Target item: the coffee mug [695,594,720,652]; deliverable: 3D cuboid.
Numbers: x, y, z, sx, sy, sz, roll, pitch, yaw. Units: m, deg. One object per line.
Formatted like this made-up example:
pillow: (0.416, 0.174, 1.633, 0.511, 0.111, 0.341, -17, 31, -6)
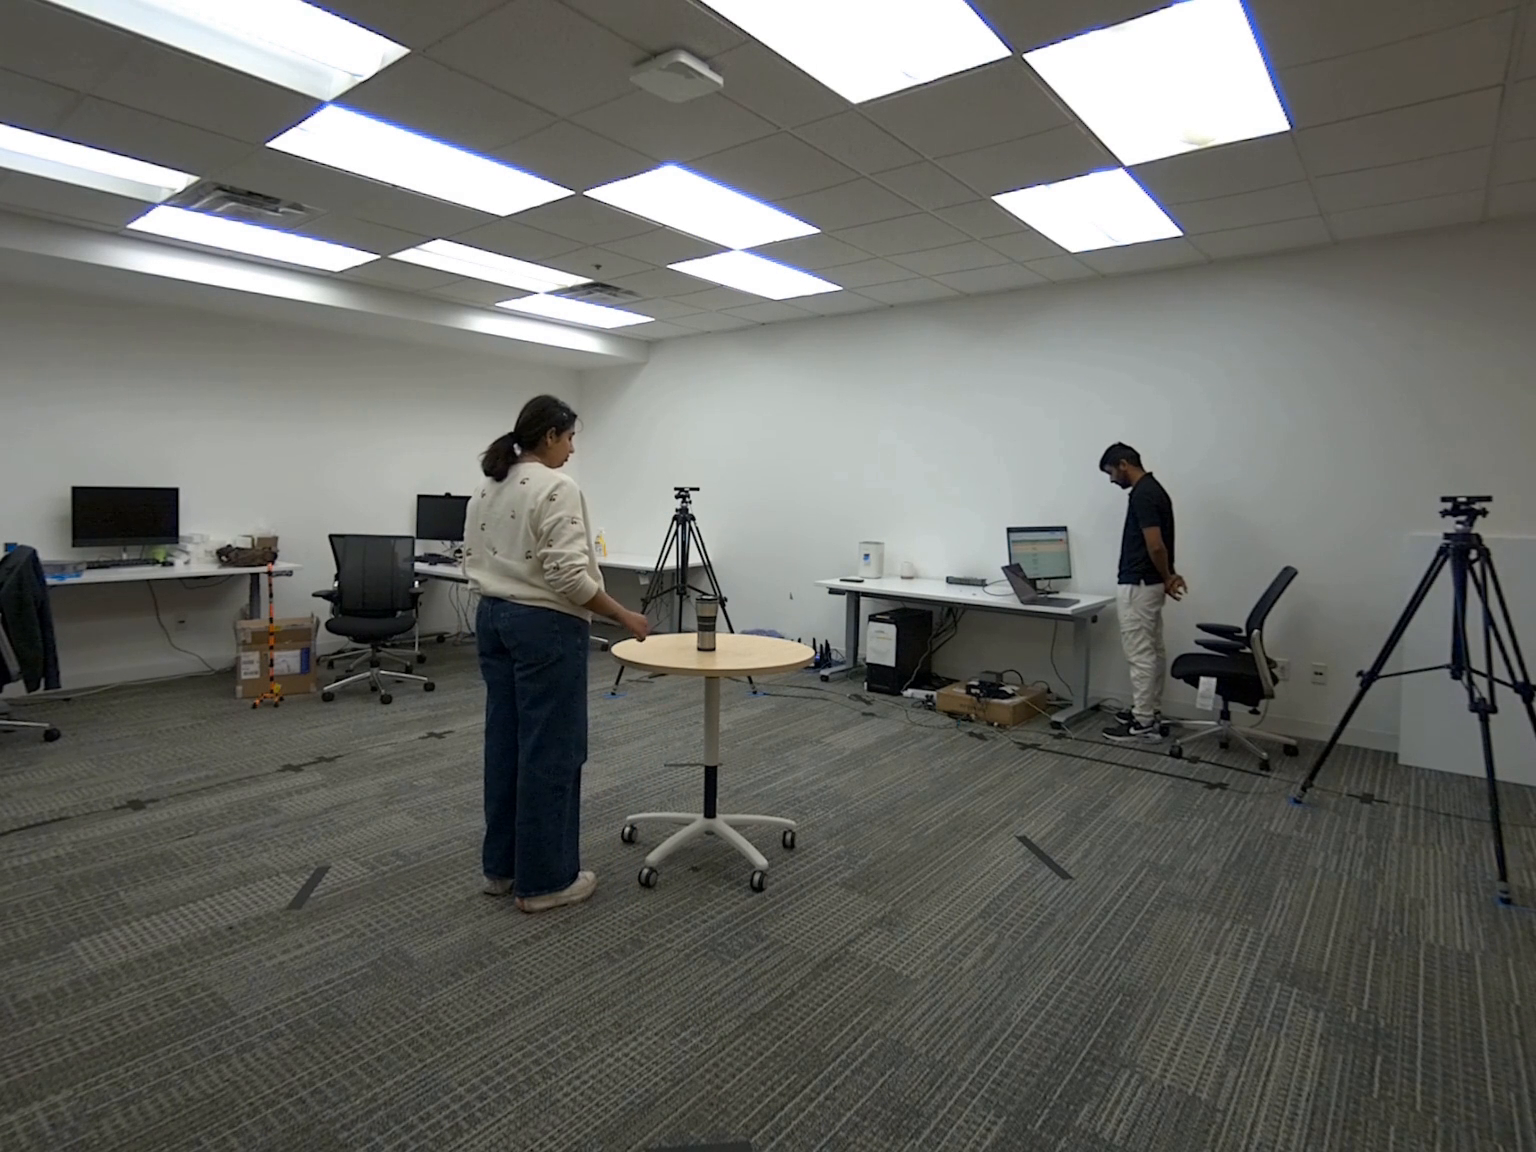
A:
coffee mug: (-0.229, 0.179, 3.197, 0.090, 0.202, 0.118, -2, 4, 43)
